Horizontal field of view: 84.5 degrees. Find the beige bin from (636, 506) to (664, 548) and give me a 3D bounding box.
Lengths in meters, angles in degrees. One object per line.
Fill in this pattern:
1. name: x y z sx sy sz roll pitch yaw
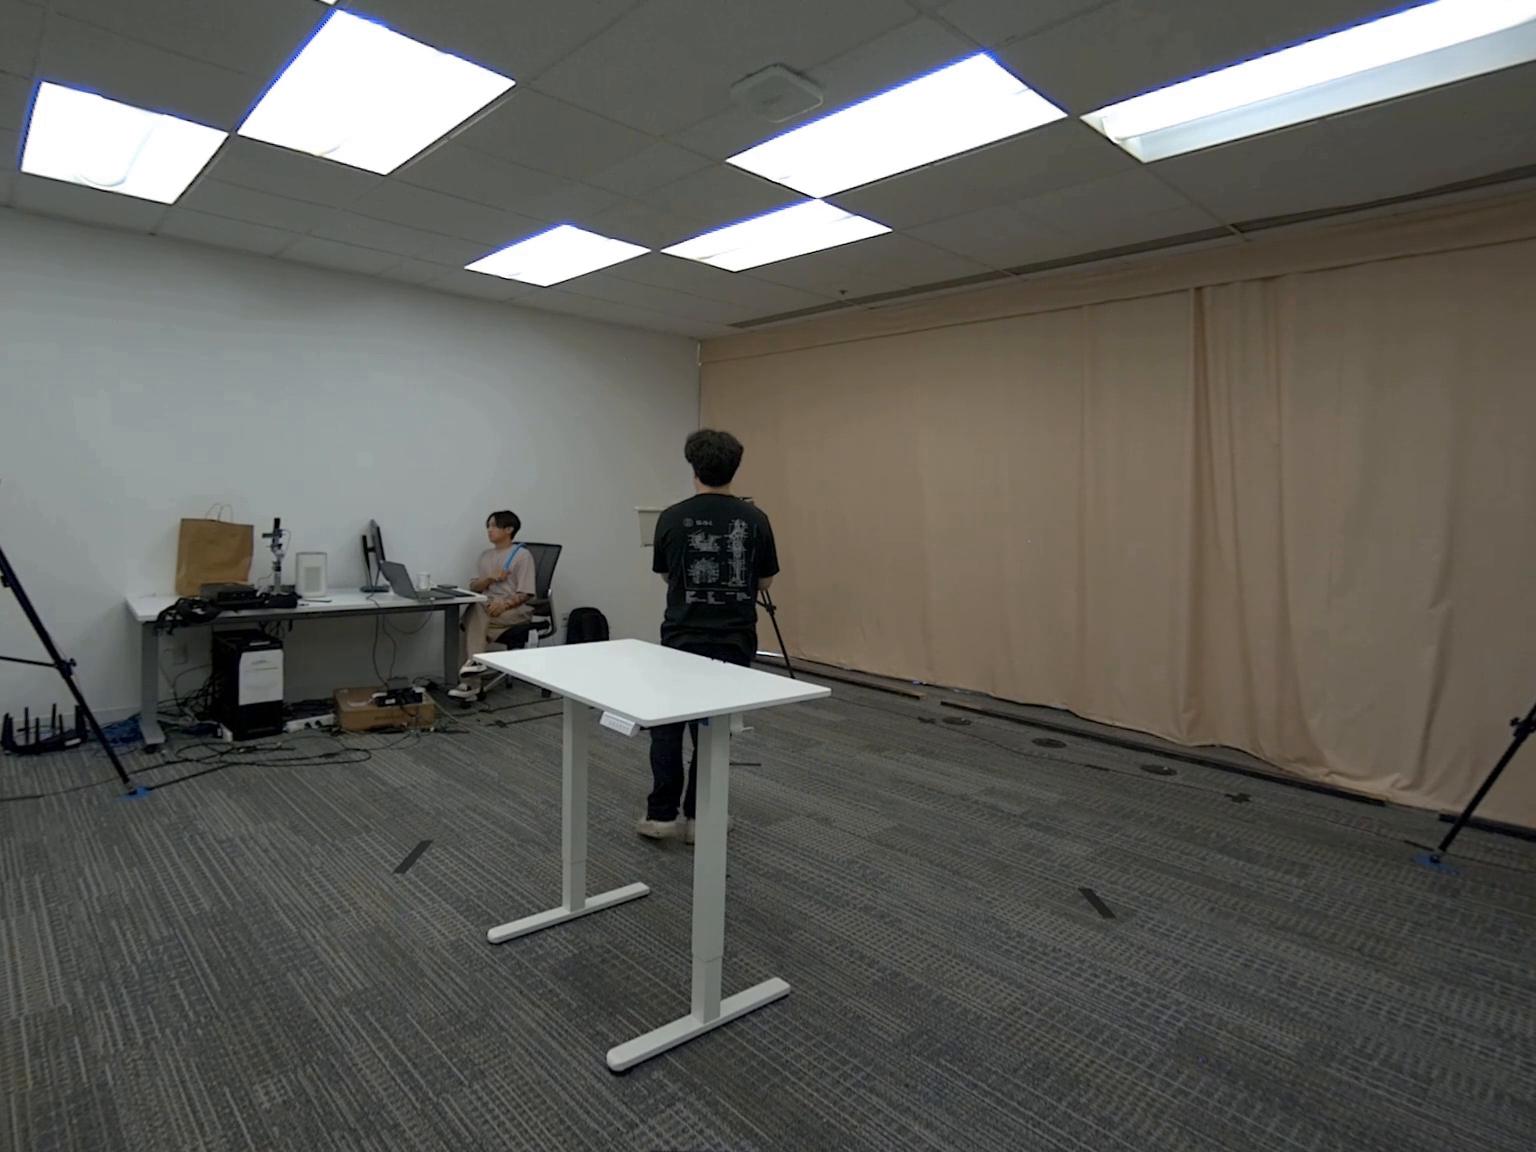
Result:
1. beige bin: -0.319 -0.239 3.781 0.433 0.187 0.371 5 14 38
